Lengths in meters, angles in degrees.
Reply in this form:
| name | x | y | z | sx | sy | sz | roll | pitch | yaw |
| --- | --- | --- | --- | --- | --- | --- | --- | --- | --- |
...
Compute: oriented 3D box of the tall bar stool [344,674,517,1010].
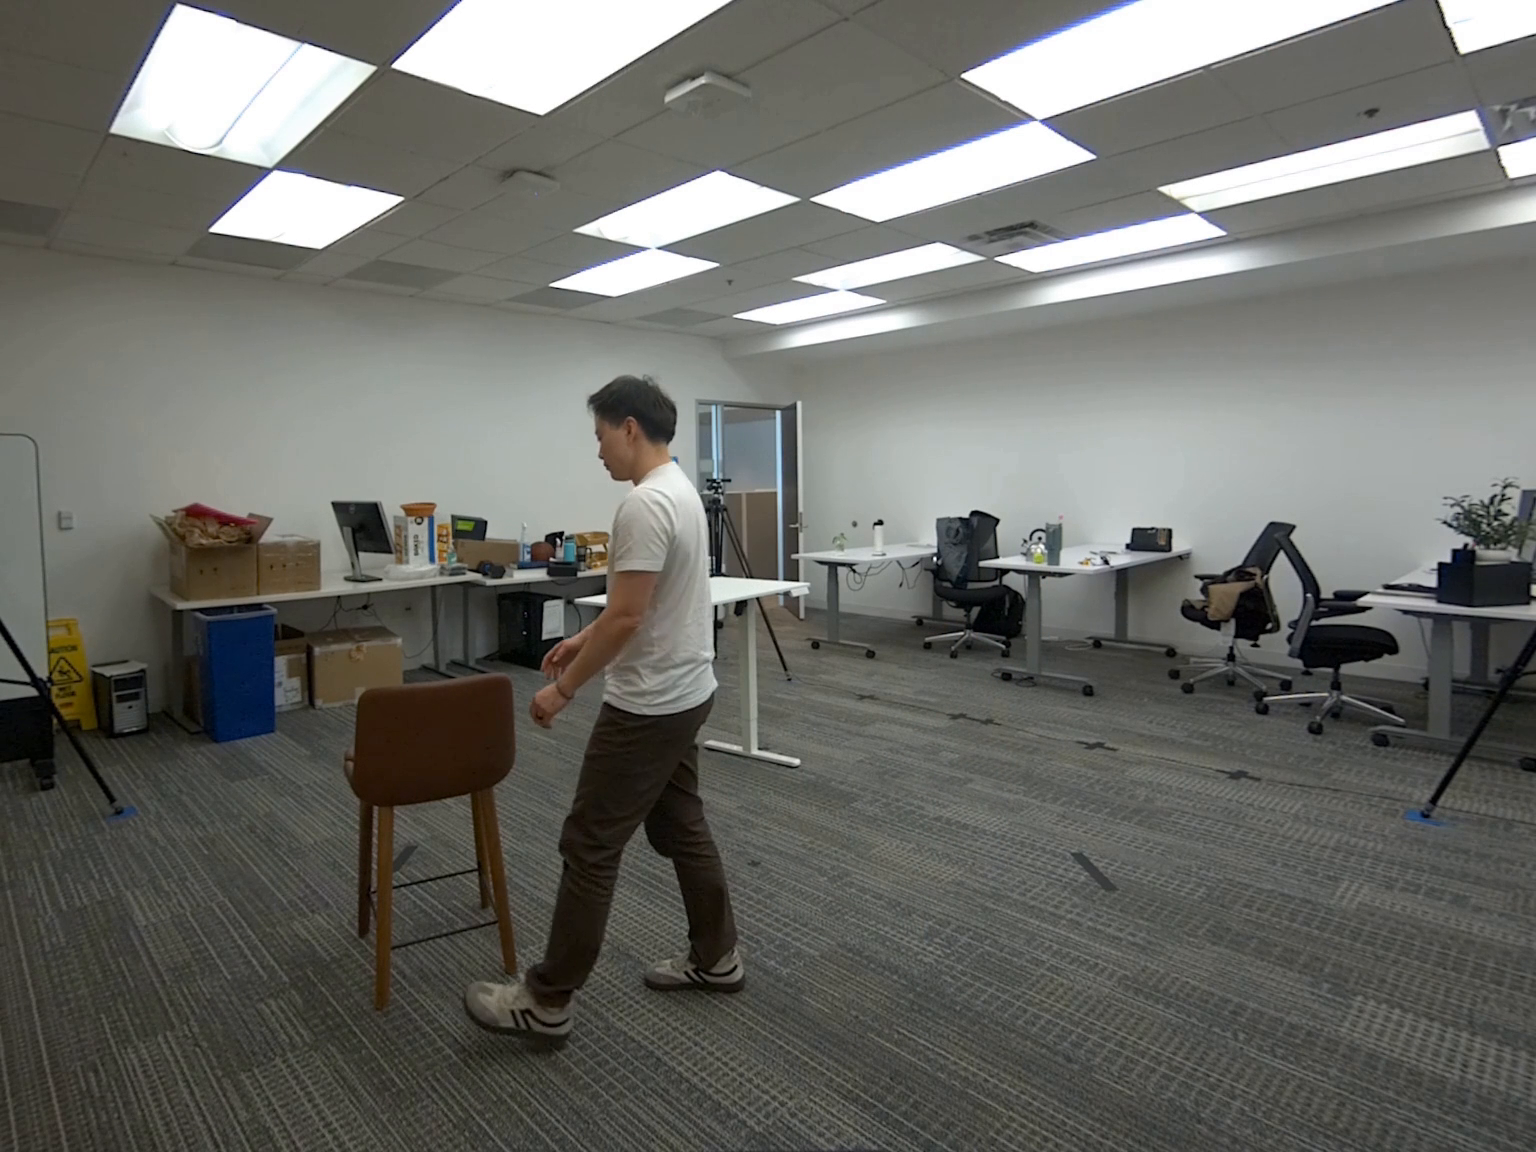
| name | x | y | z | sx | sy | sz | roll | pitch | yaw |
| --- | --- | --- | --- | --- | --- | --- | --- | --- | --- |
| tall bar stool | -0.995 | 0.695 | 2.527 | 0.446 | 0.885 | 0.481 | -3 | 7 | -28 |
